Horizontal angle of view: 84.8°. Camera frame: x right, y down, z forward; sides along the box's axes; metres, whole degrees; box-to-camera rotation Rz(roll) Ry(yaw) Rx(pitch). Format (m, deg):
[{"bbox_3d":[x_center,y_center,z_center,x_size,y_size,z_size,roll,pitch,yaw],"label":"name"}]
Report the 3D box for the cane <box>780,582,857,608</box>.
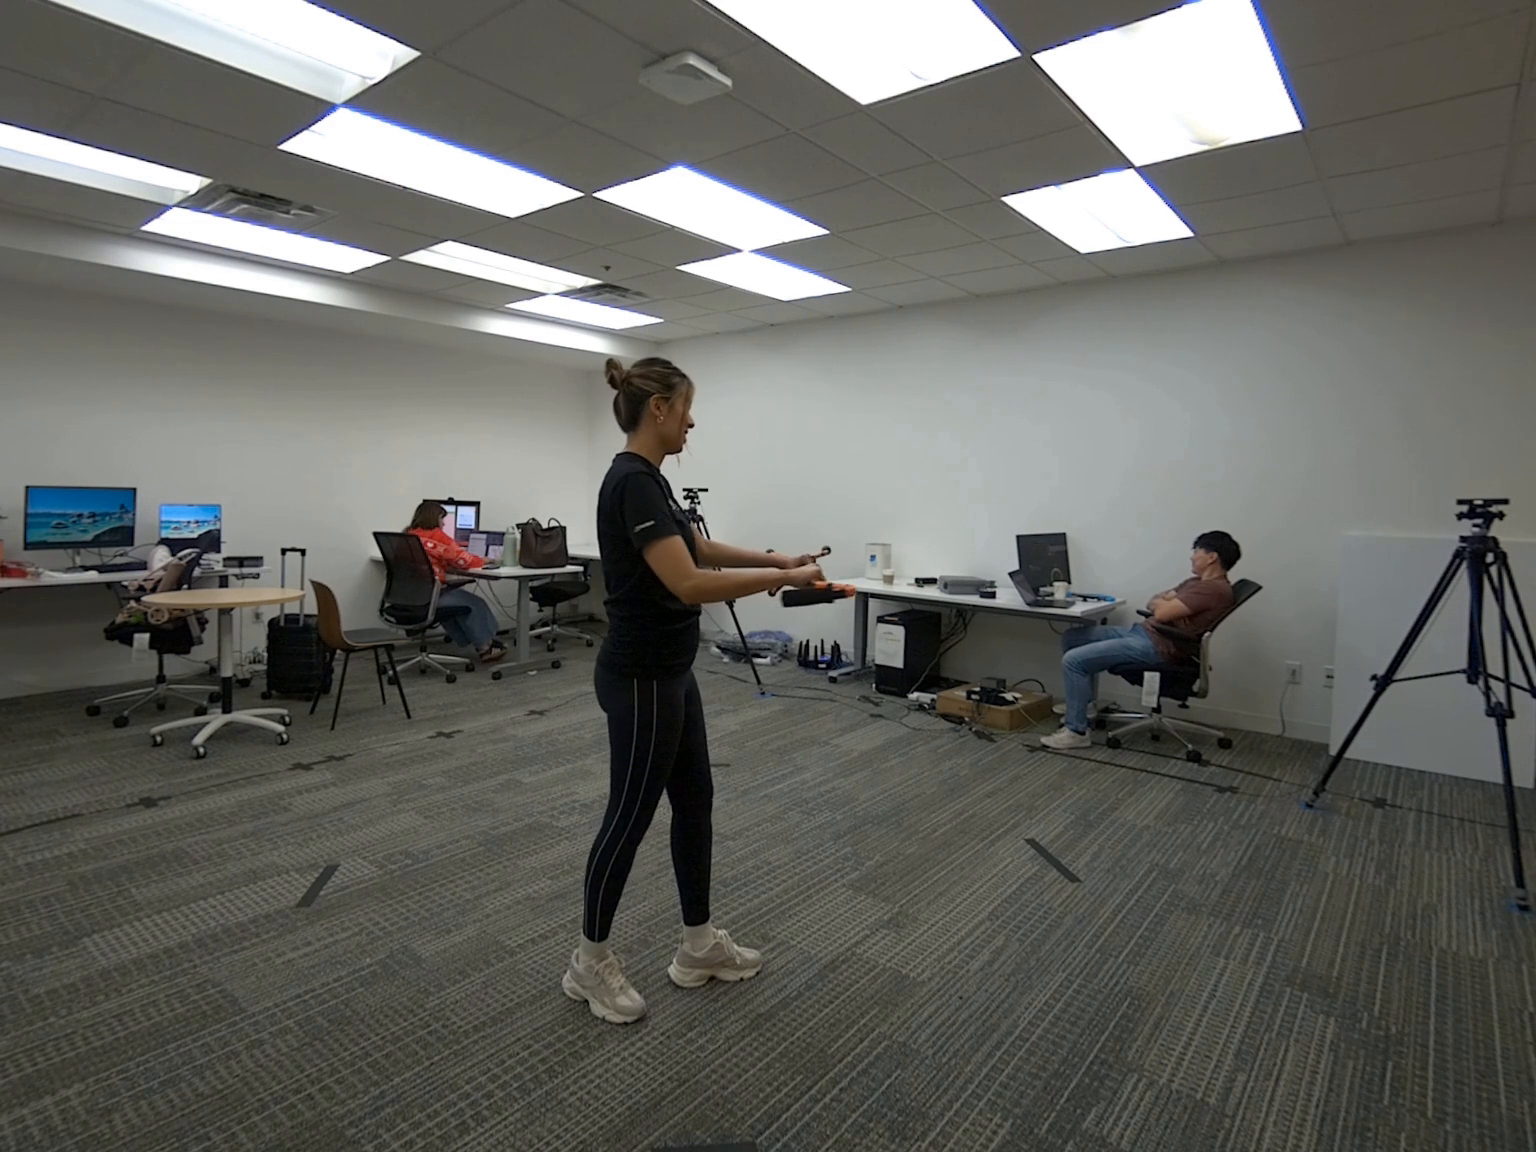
[{"bbox_3d":[0.103,0.019,2.212,0.207,0.151,0.908,-7,4,1],"label":"cane"}]
